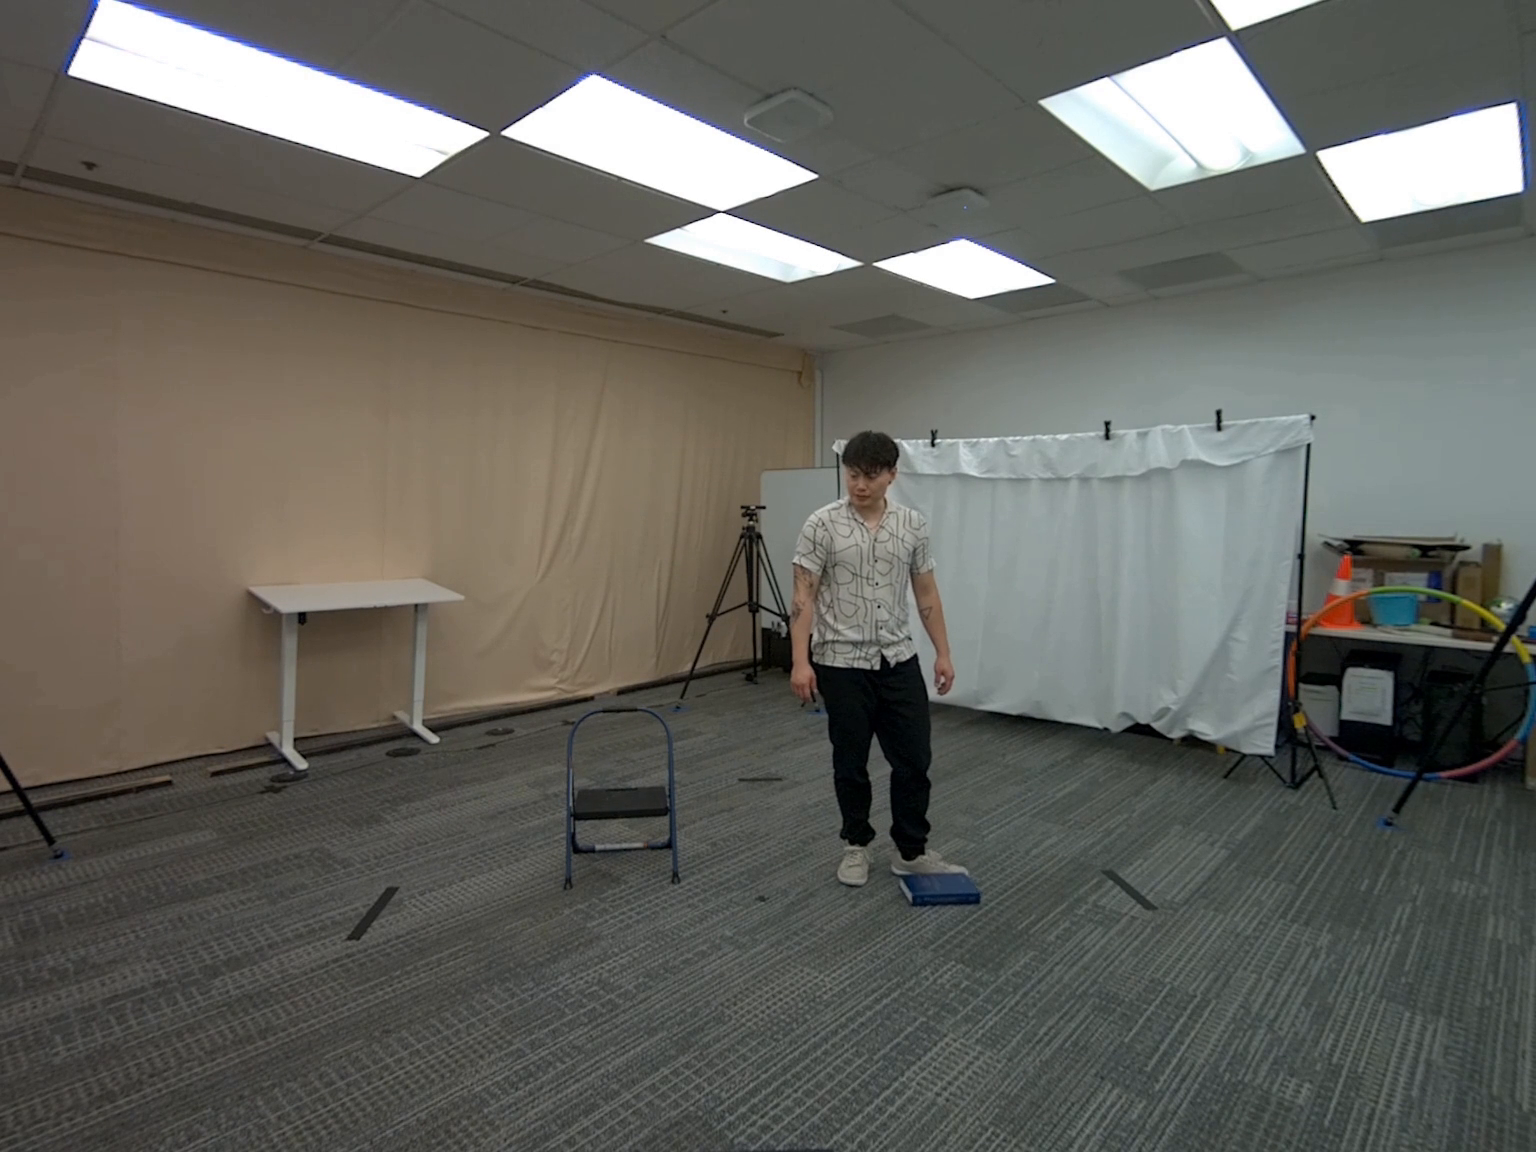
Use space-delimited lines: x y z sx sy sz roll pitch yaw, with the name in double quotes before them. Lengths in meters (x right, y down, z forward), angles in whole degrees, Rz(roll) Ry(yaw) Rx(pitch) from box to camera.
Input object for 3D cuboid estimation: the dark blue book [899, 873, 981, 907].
"dark blue book" 0.611 1.113 3.009 0.244 0.045 0.164 0 4 -5
